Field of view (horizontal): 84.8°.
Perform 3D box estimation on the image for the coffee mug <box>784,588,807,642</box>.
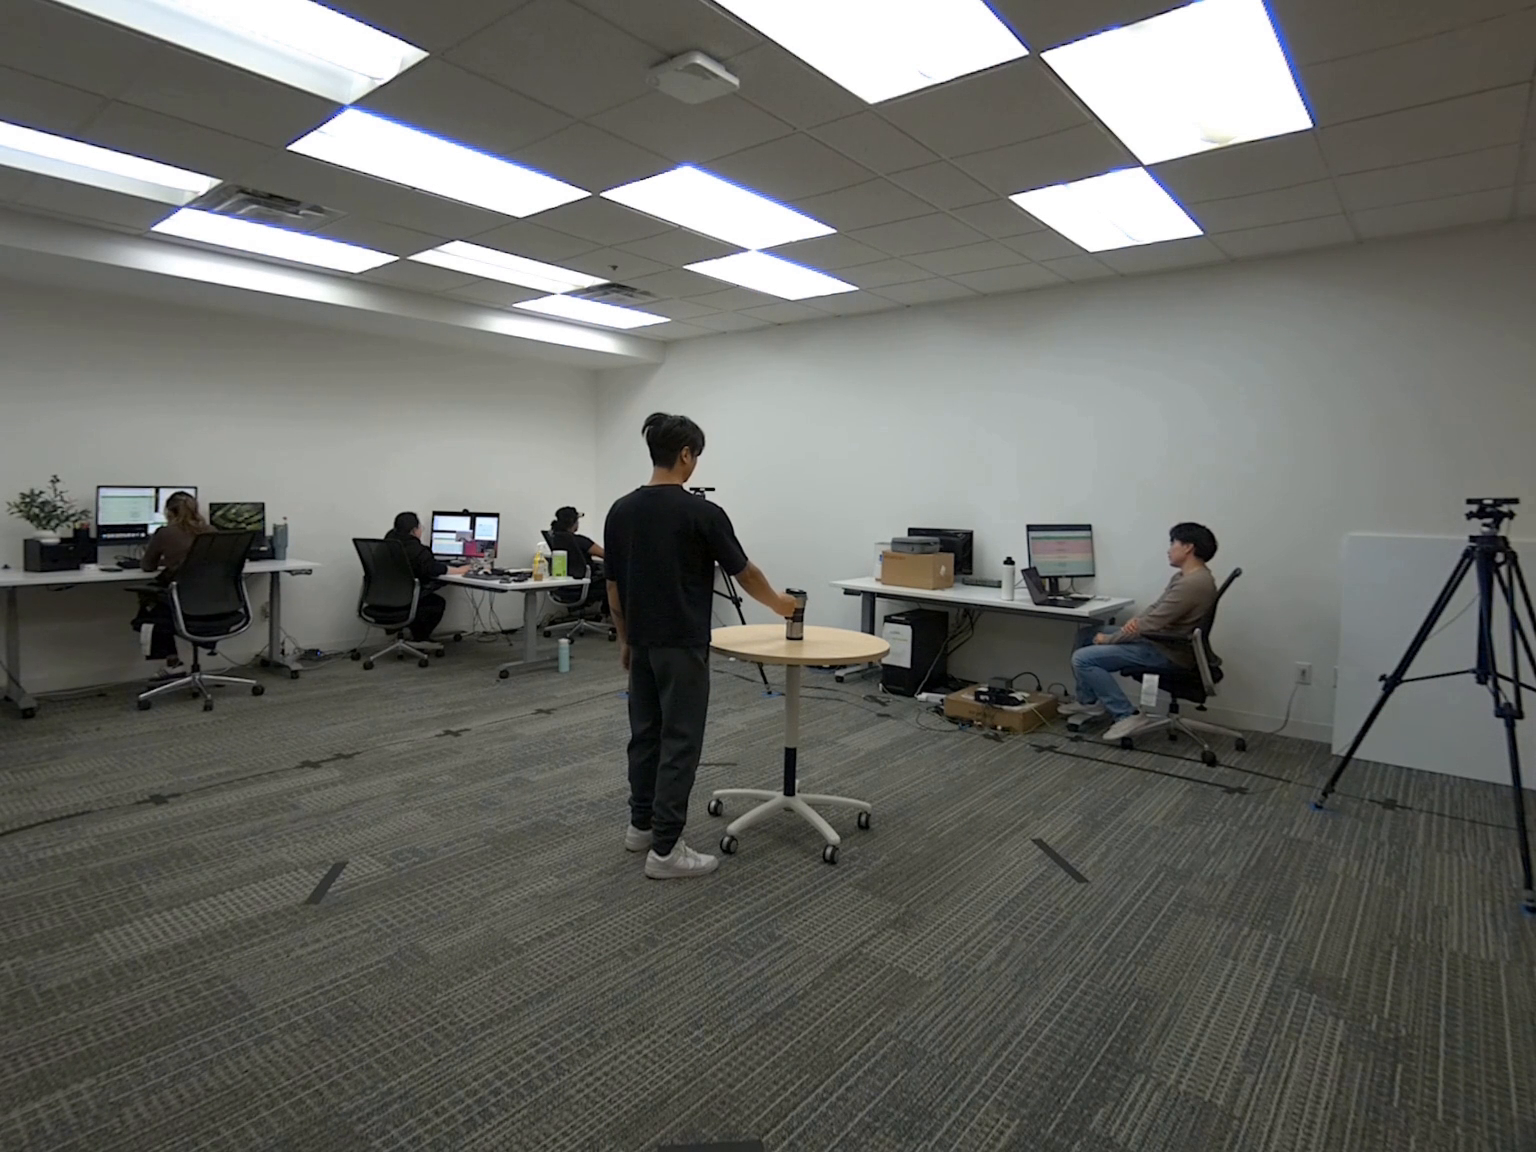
[{"bbox_3d":[0.083,0.155,3.461,0.118,0.202,0.091,2,7,-36],"label":"coffee mug"}]
